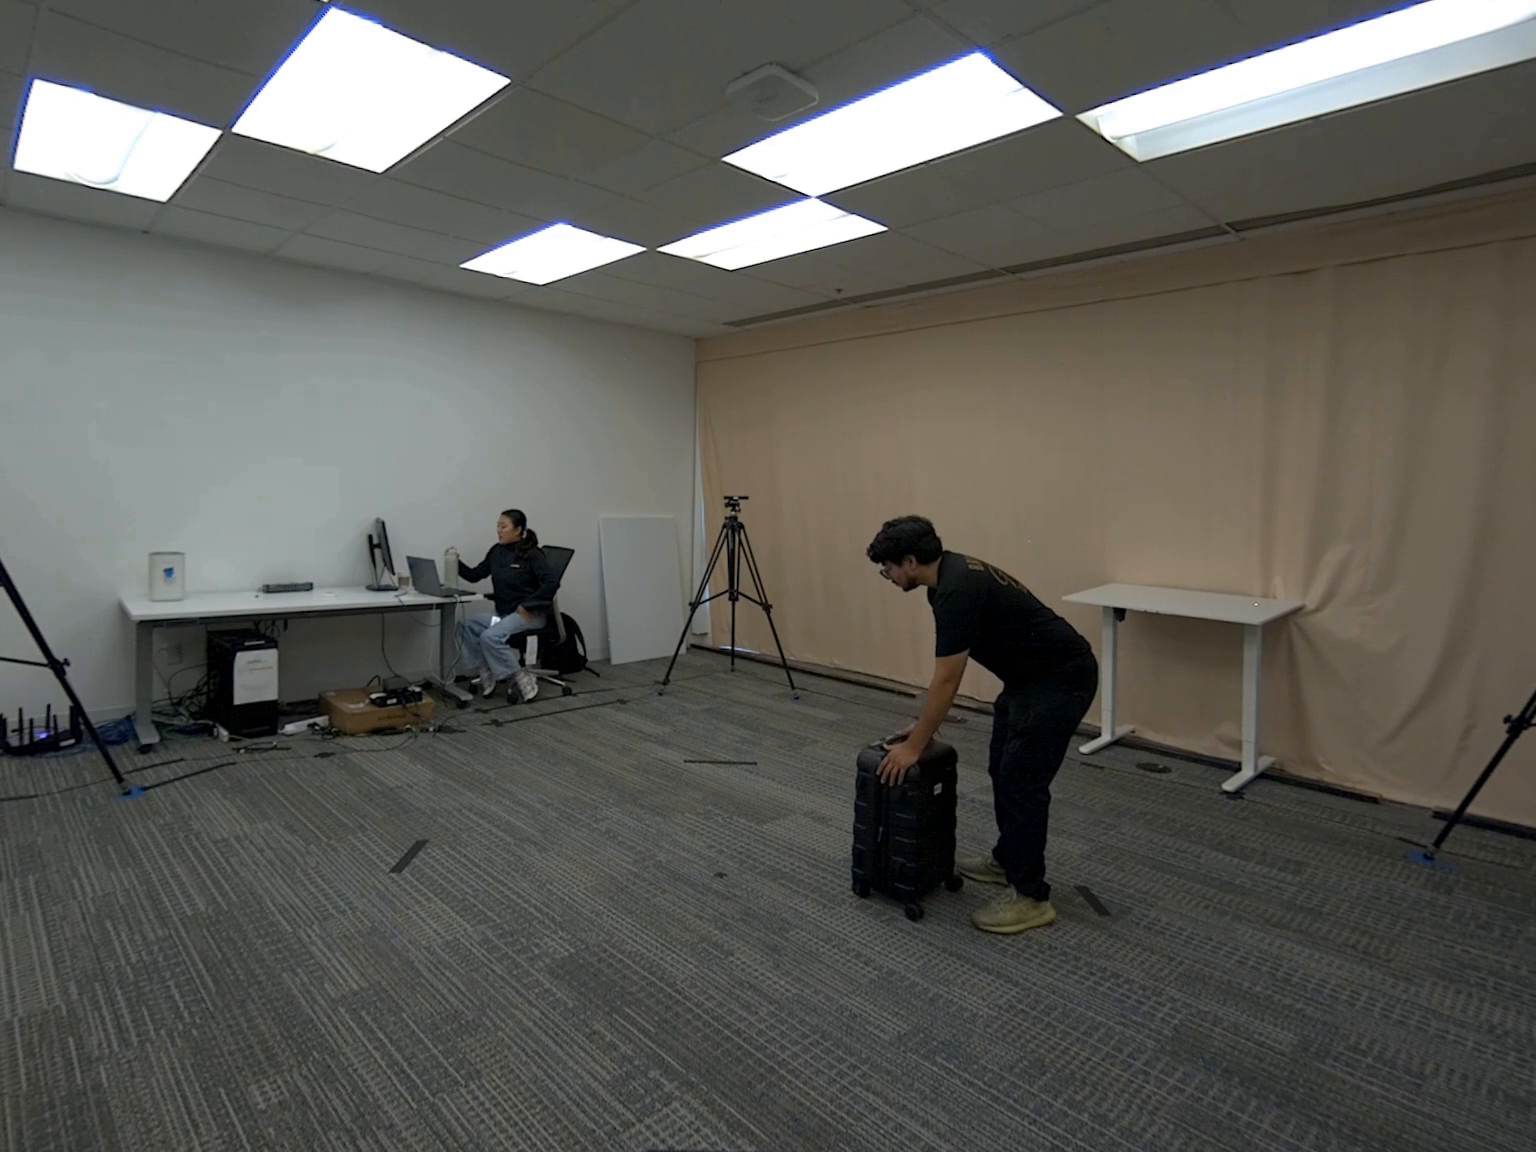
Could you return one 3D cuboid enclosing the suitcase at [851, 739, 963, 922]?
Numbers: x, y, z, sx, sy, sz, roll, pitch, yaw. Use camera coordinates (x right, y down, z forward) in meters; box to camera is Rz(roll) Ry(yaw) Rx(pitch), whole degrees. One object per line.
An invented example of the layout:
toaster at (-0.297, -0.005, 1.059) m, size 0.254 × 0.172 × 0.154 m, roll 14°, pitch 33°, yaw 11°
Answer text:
suitcase at (0.491, 0.852, 2.985) m, size 0.254 × 0.548 × 0.367 m, roll 4°, pitch 5°, yaw 40°
